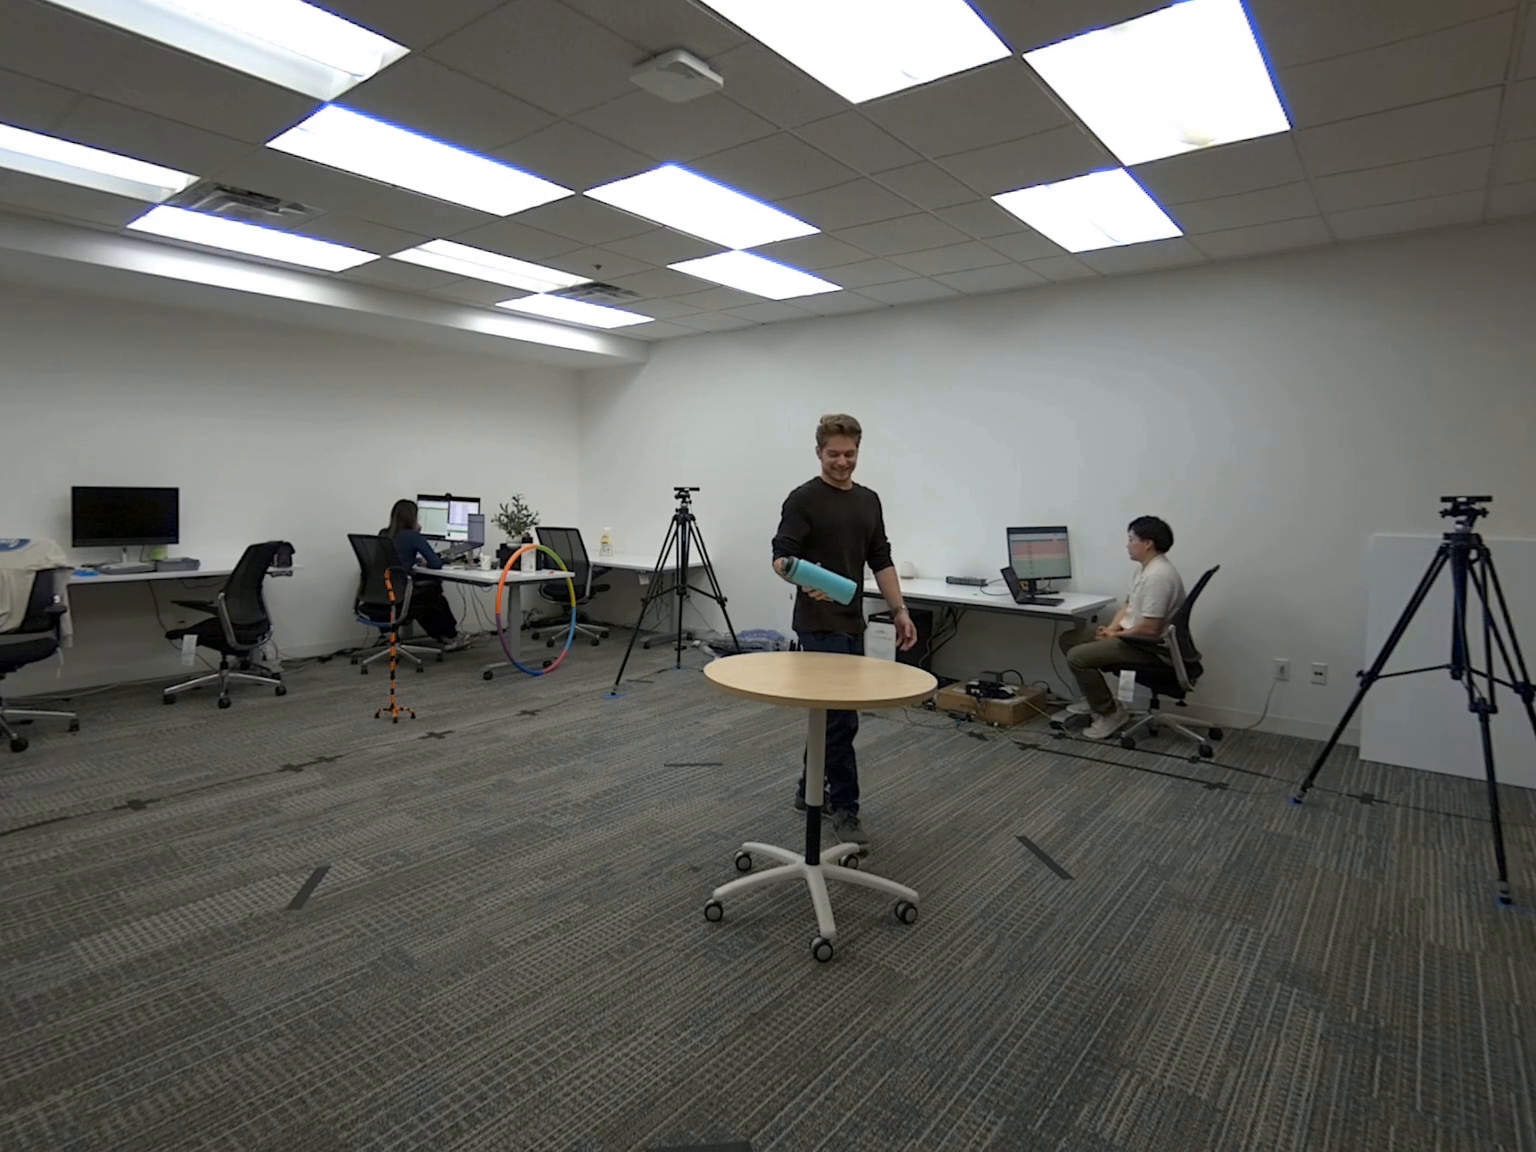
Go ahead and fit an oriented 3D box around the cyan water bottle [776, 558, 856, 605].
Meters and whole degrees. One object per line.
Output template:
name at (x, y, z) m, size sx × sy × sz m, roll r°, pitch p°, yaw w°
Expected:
cyan water bottle at (0.173, 0.005, 3.113) m, size 0.283 × 0.092 × 0.092 m, roll 22°, pitch 3°, yaw -1°
